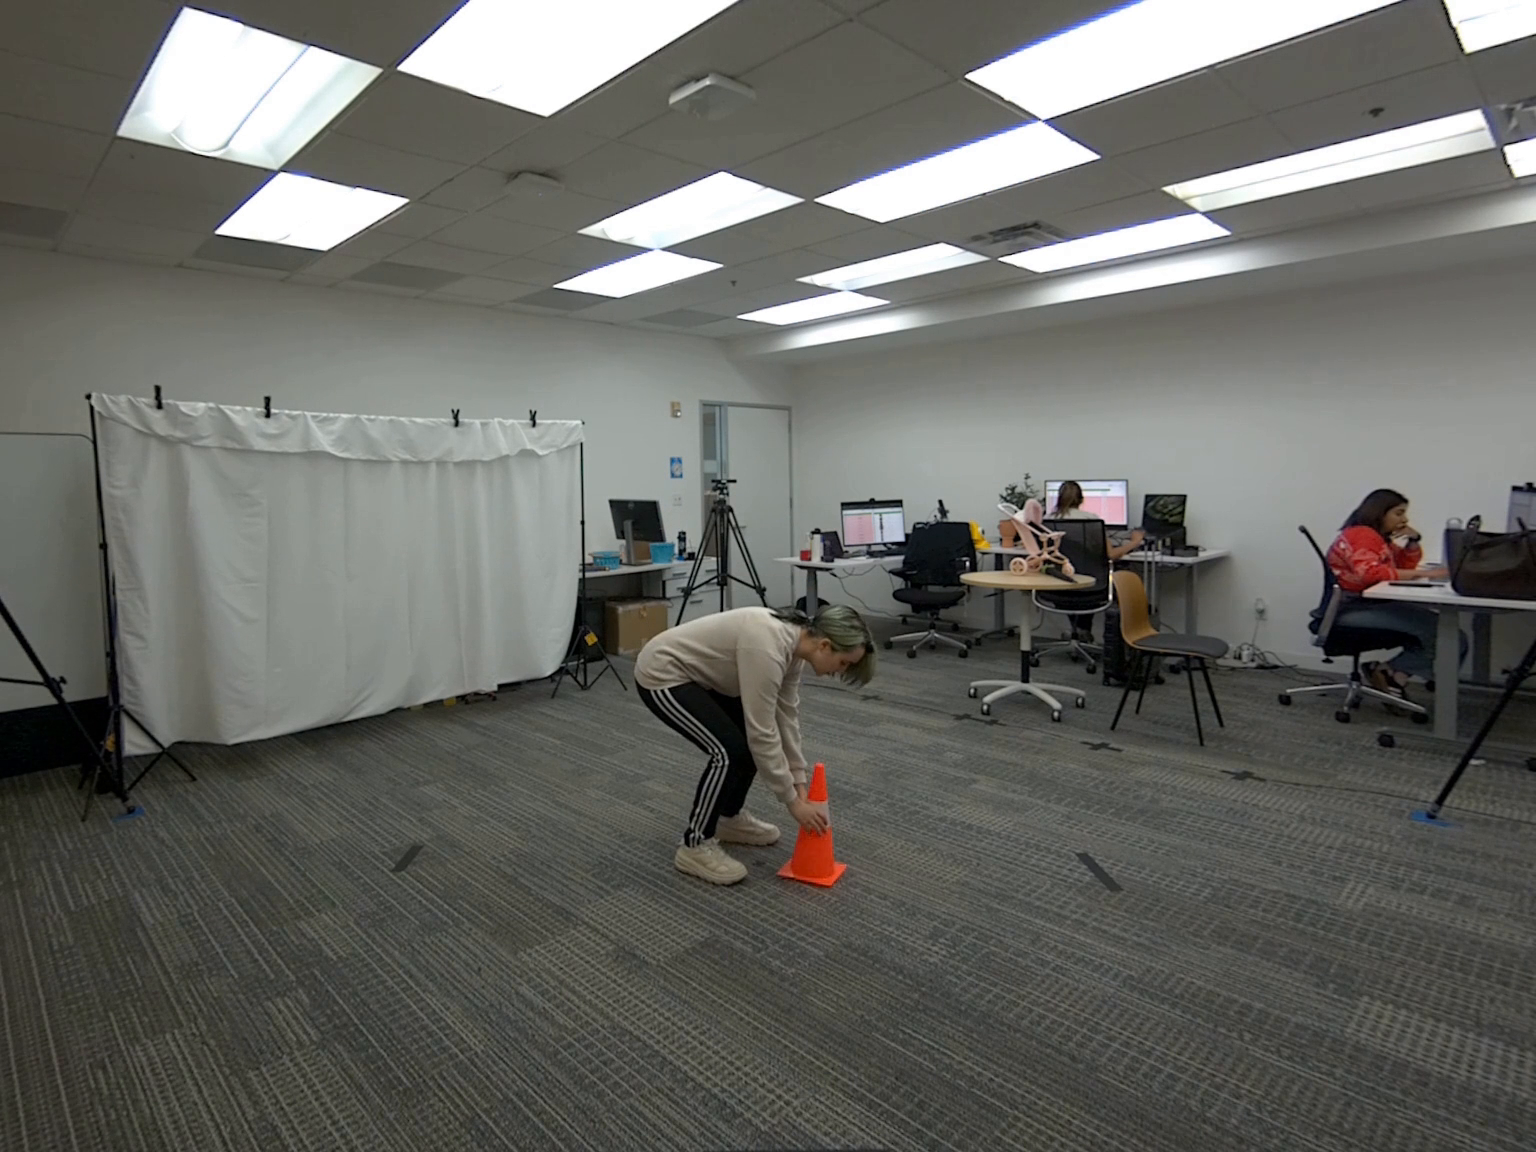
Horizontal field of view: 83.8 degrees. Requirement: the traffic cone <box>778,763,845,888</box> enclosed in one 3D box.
[{"bbox_3d":[0.166,0.848,3.028,0.208,0.383,0.200,3,2,25],"label":"traffic cone"}]
